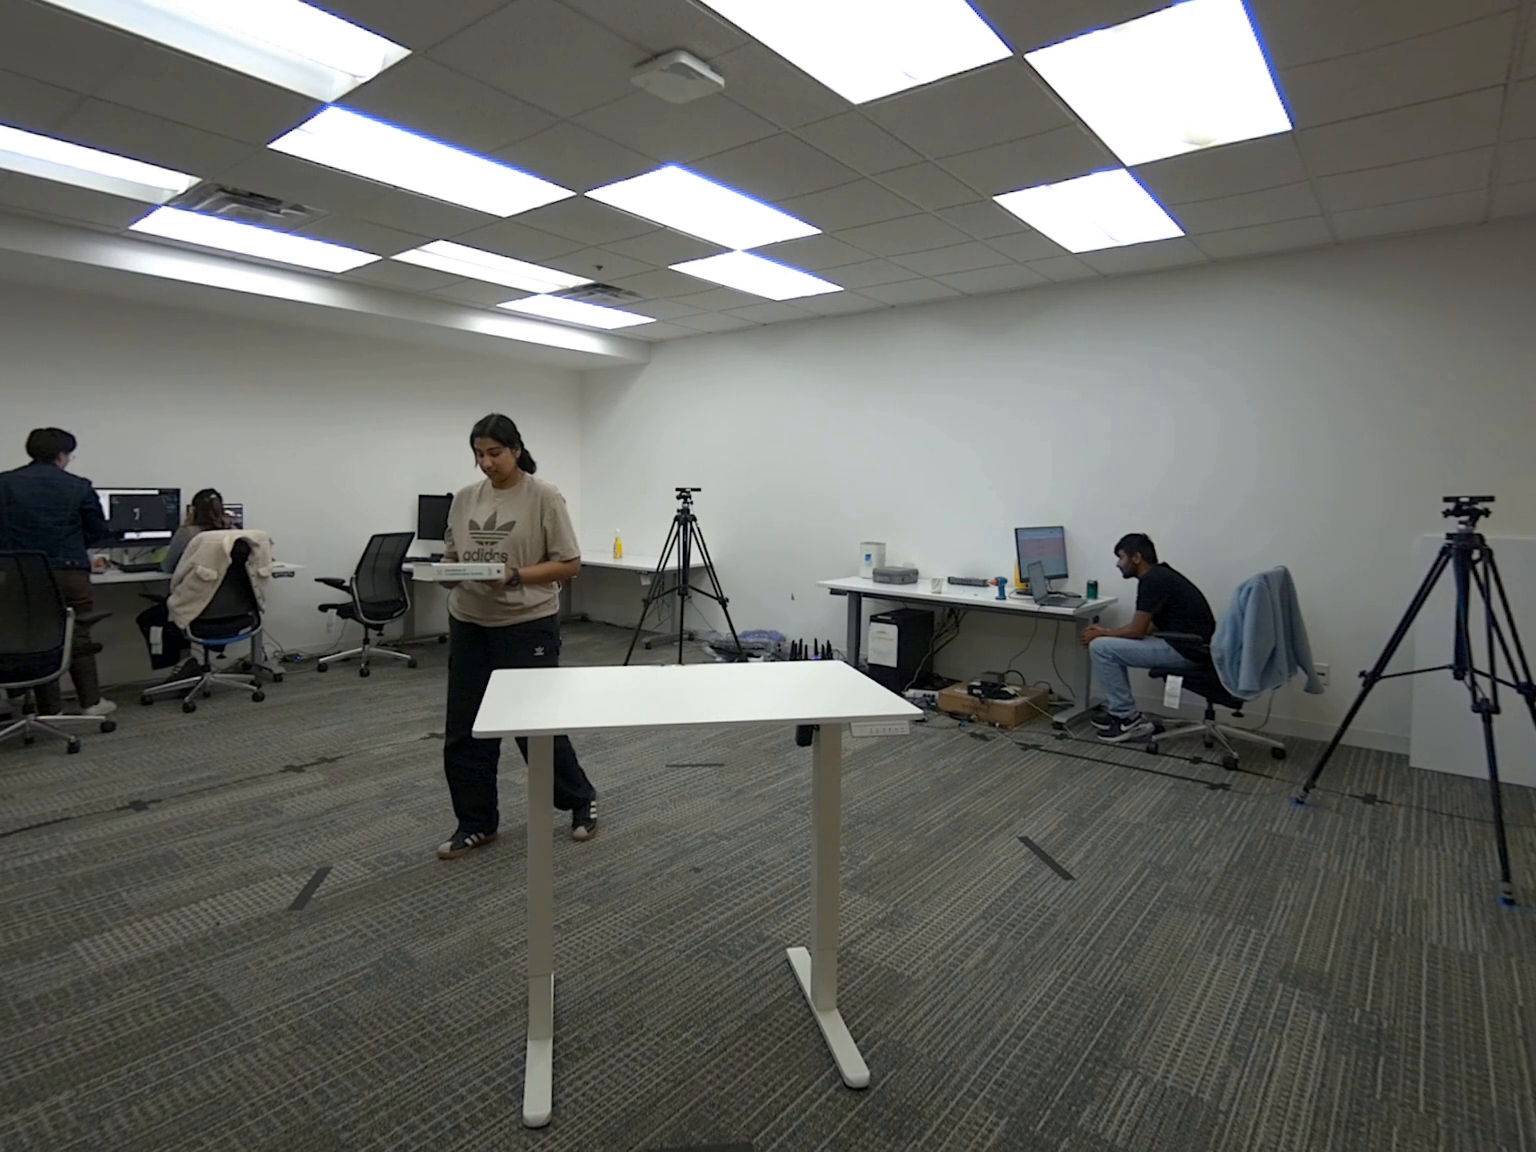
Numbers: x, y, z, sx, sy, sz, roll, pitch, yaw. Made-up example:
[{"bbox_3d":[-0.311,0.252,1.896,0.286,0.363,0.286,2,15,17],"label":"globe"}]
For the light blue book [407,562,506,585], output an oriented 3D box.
[{"bbox_3d":[-1.092,-0.018,2.991,0.253,0.059,0.197,-2,3,-38],"label":"light blue book"}]
